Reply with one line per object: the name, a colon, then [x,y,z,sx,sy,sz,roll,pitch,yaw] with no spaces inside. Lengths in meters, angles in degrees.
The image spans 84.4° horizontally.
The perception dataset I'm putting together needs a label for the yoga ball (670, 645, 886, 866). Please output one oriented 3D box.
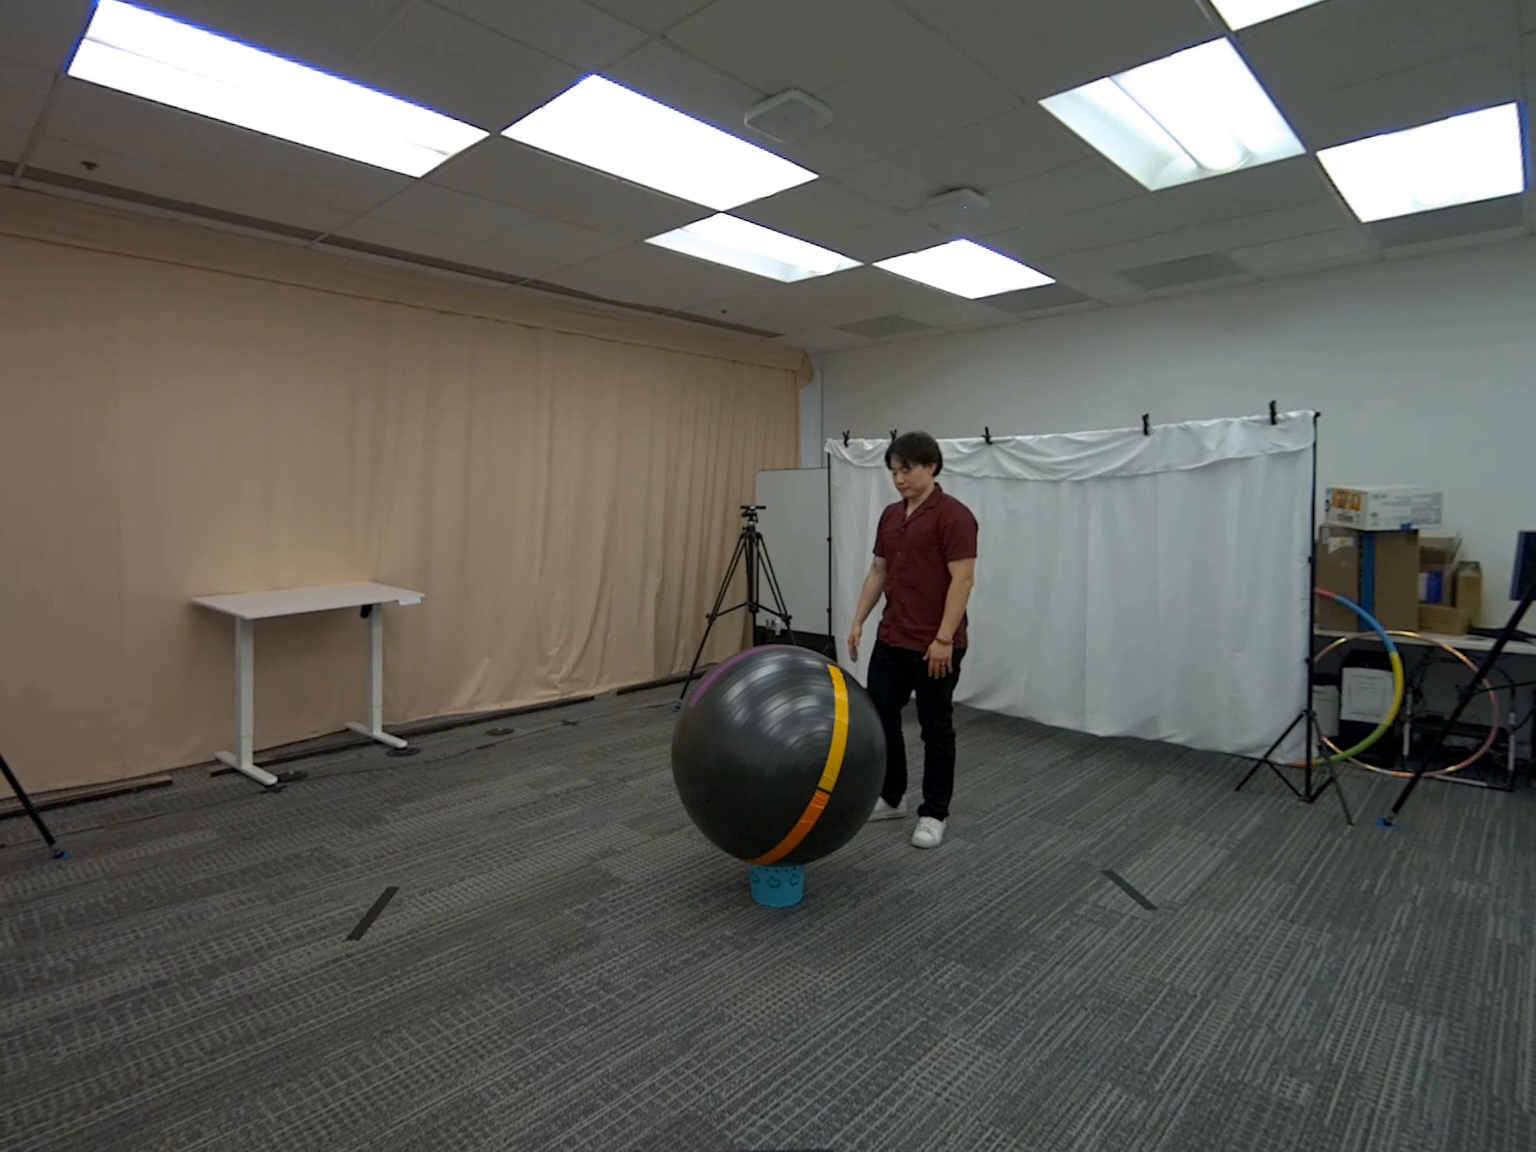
yoga ball: [0.037,0.629,2.988,0.757,0.756,0.760,0,4,-2]
